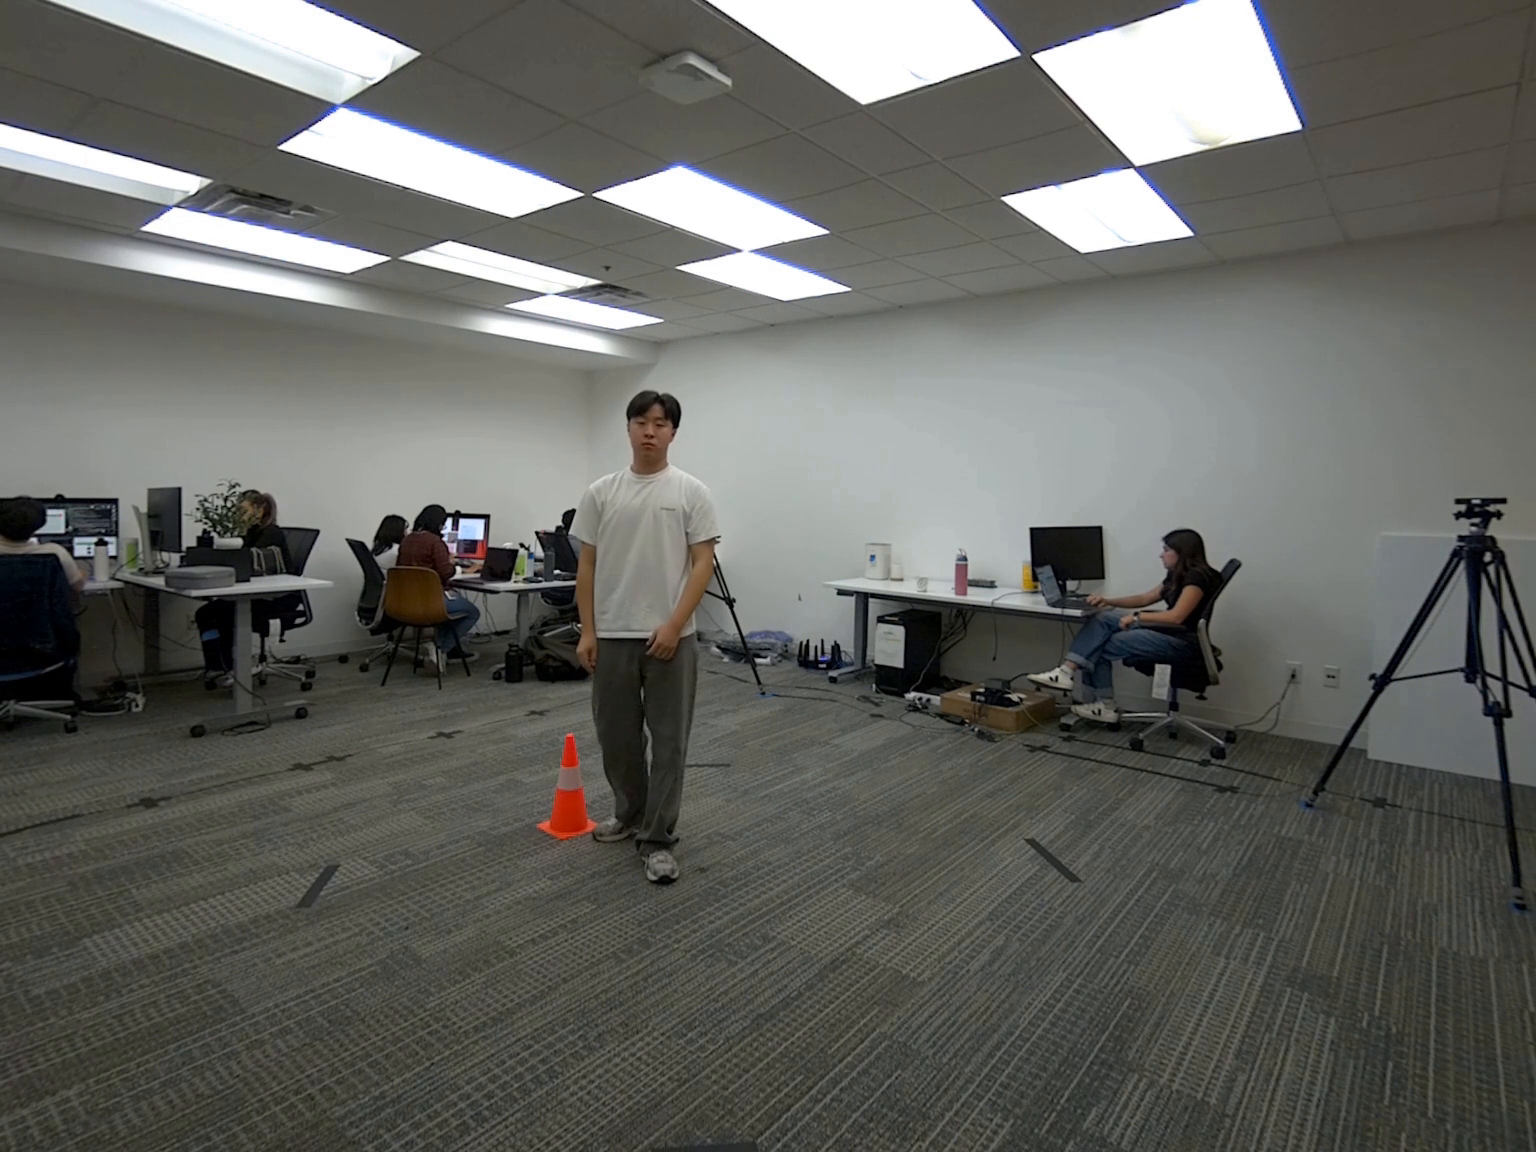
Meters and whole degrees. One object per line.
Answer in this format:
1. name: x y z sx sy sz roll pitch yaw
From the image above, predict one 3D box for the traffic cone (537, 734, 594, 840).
1. traffic cone: -0.815 0.836 3.476 0.197 0.382 0.212 -3 6 -42
